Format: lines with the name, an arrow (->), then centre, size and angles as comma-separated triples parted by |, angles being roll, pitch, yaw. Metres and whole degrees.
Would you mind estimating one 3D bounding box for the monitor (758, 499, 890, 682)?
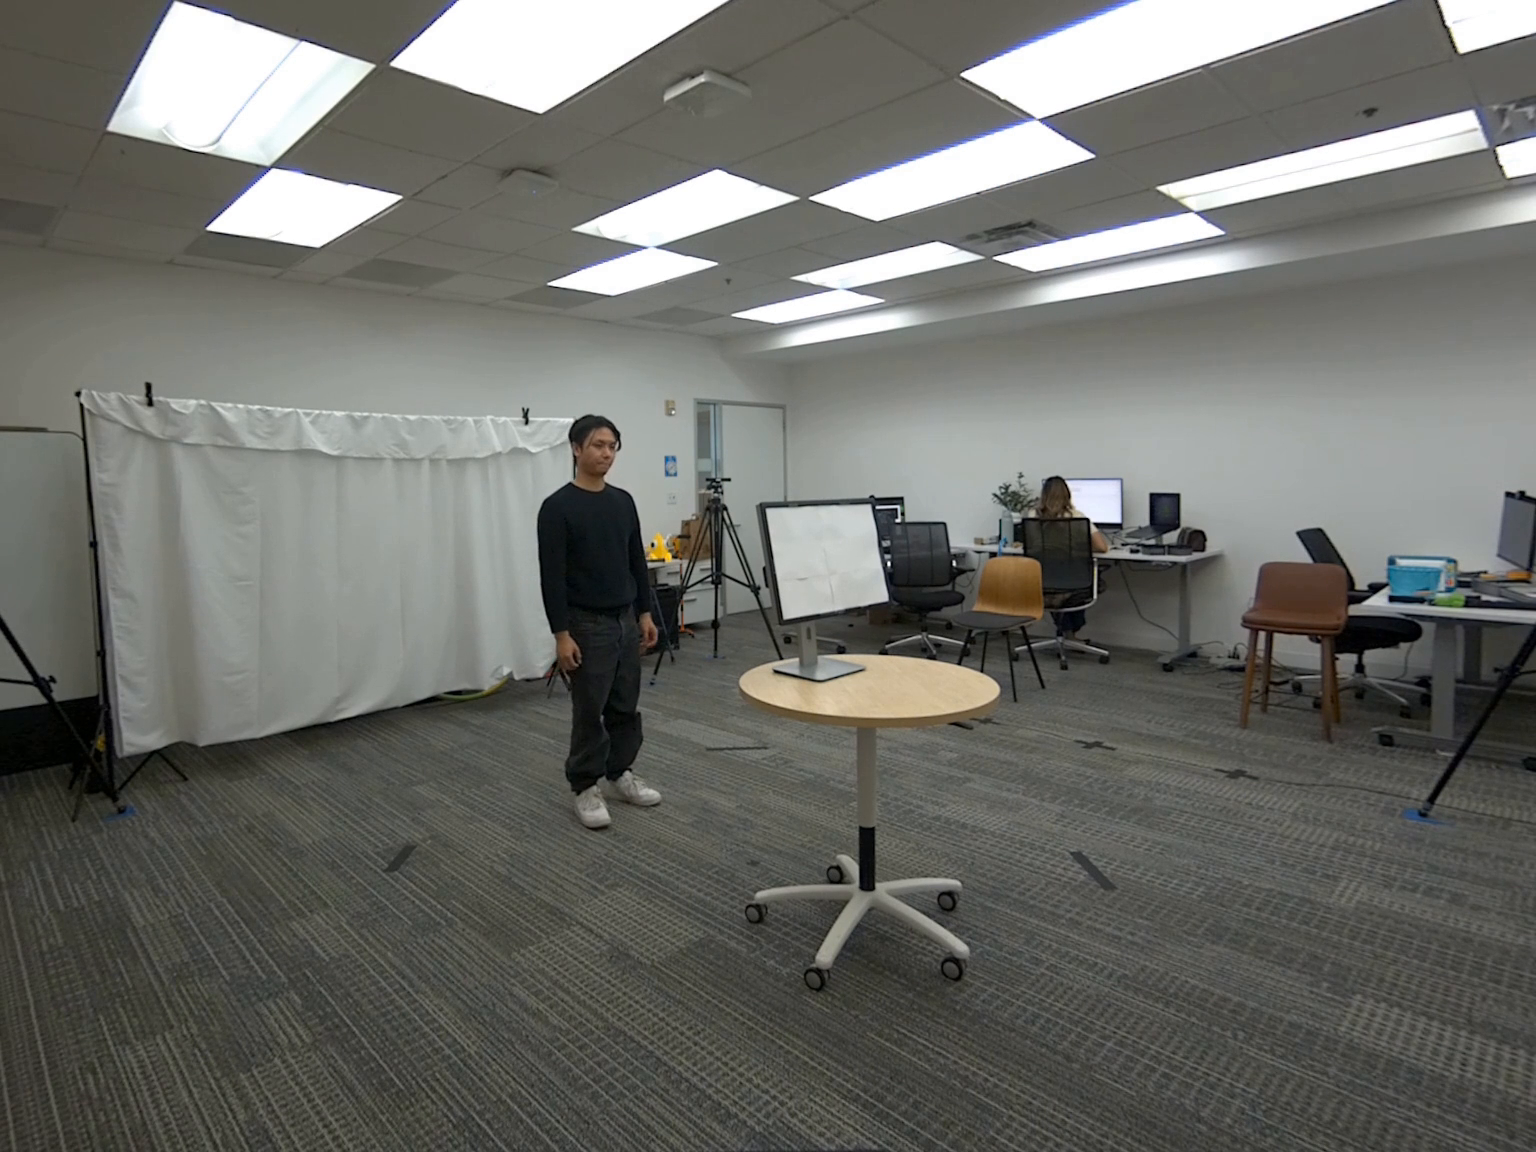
monitor -> 0.166, 0.037, 2.699 | 0.193, 0.520, 0.525 | 4, 7, 41
